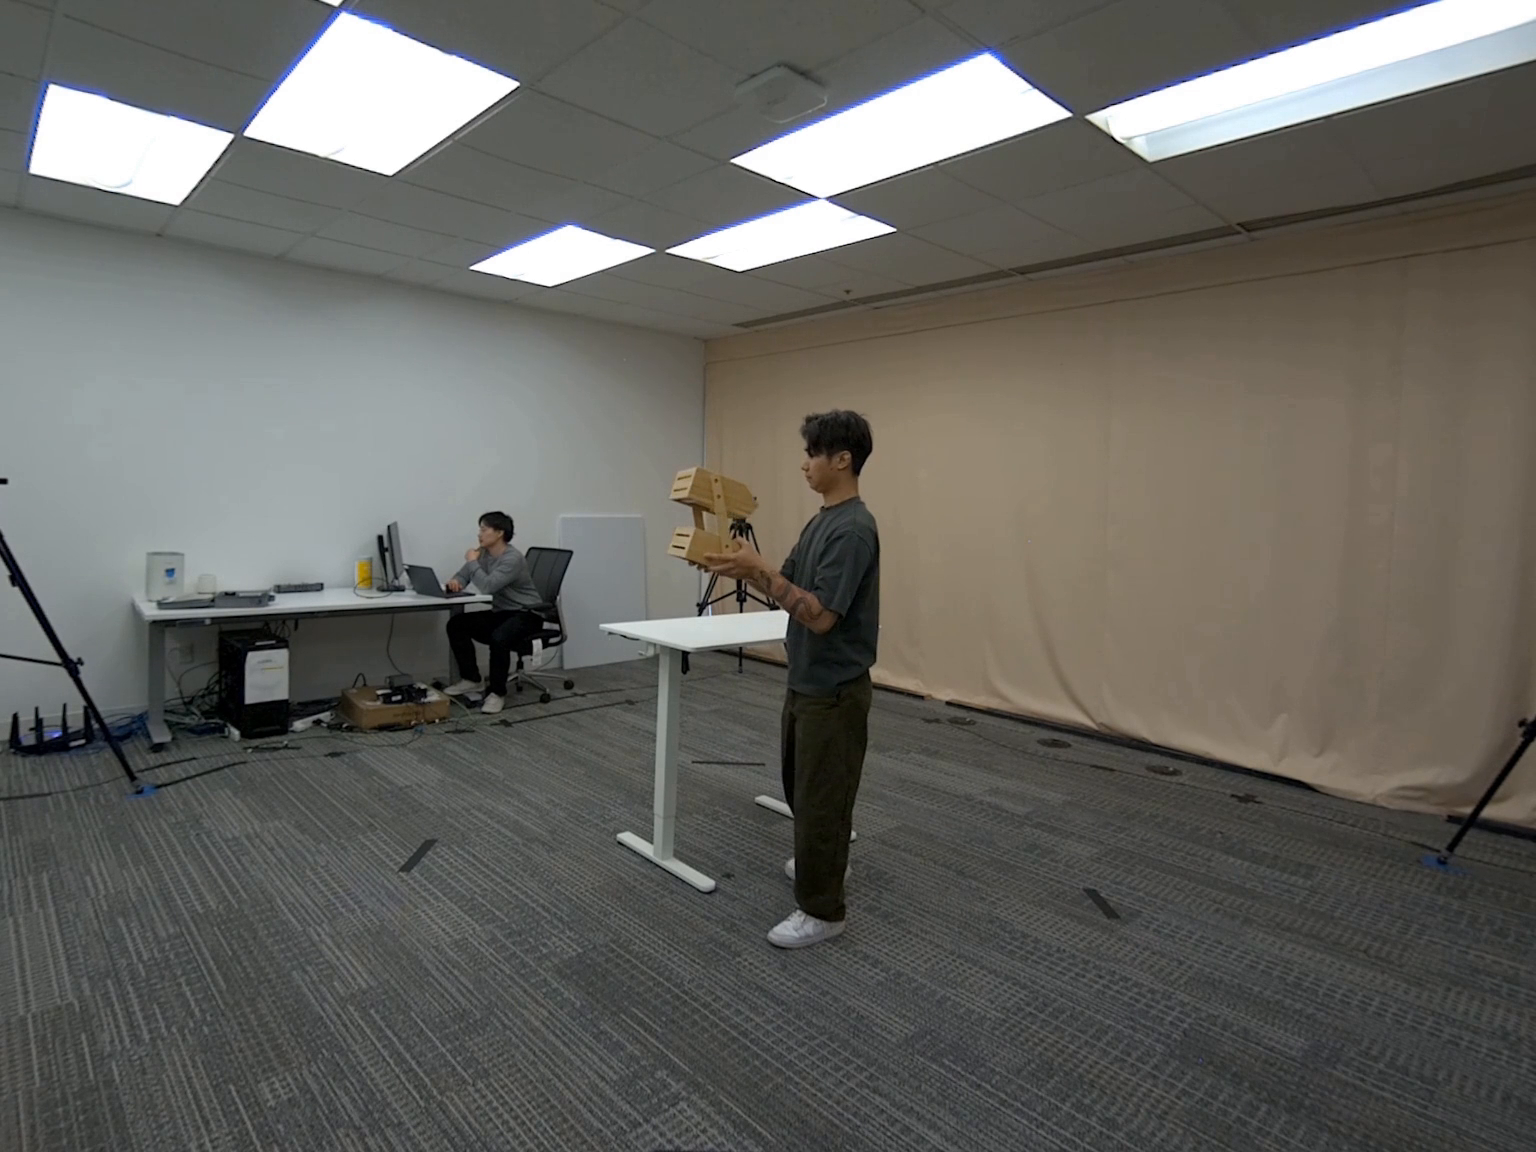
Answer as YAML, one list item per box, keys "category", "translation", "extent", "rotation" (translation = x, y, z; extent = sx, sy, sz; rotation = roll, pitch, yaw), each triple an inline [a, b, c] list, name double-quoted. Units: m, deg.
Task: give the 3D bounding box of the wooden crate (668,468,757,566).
- category: "wooden crate"
  translation: [-0.148, -0.159, 2.588]
  extent: [0.297, 0.273, 0.329]
  rotation: [18, -2, -17]
